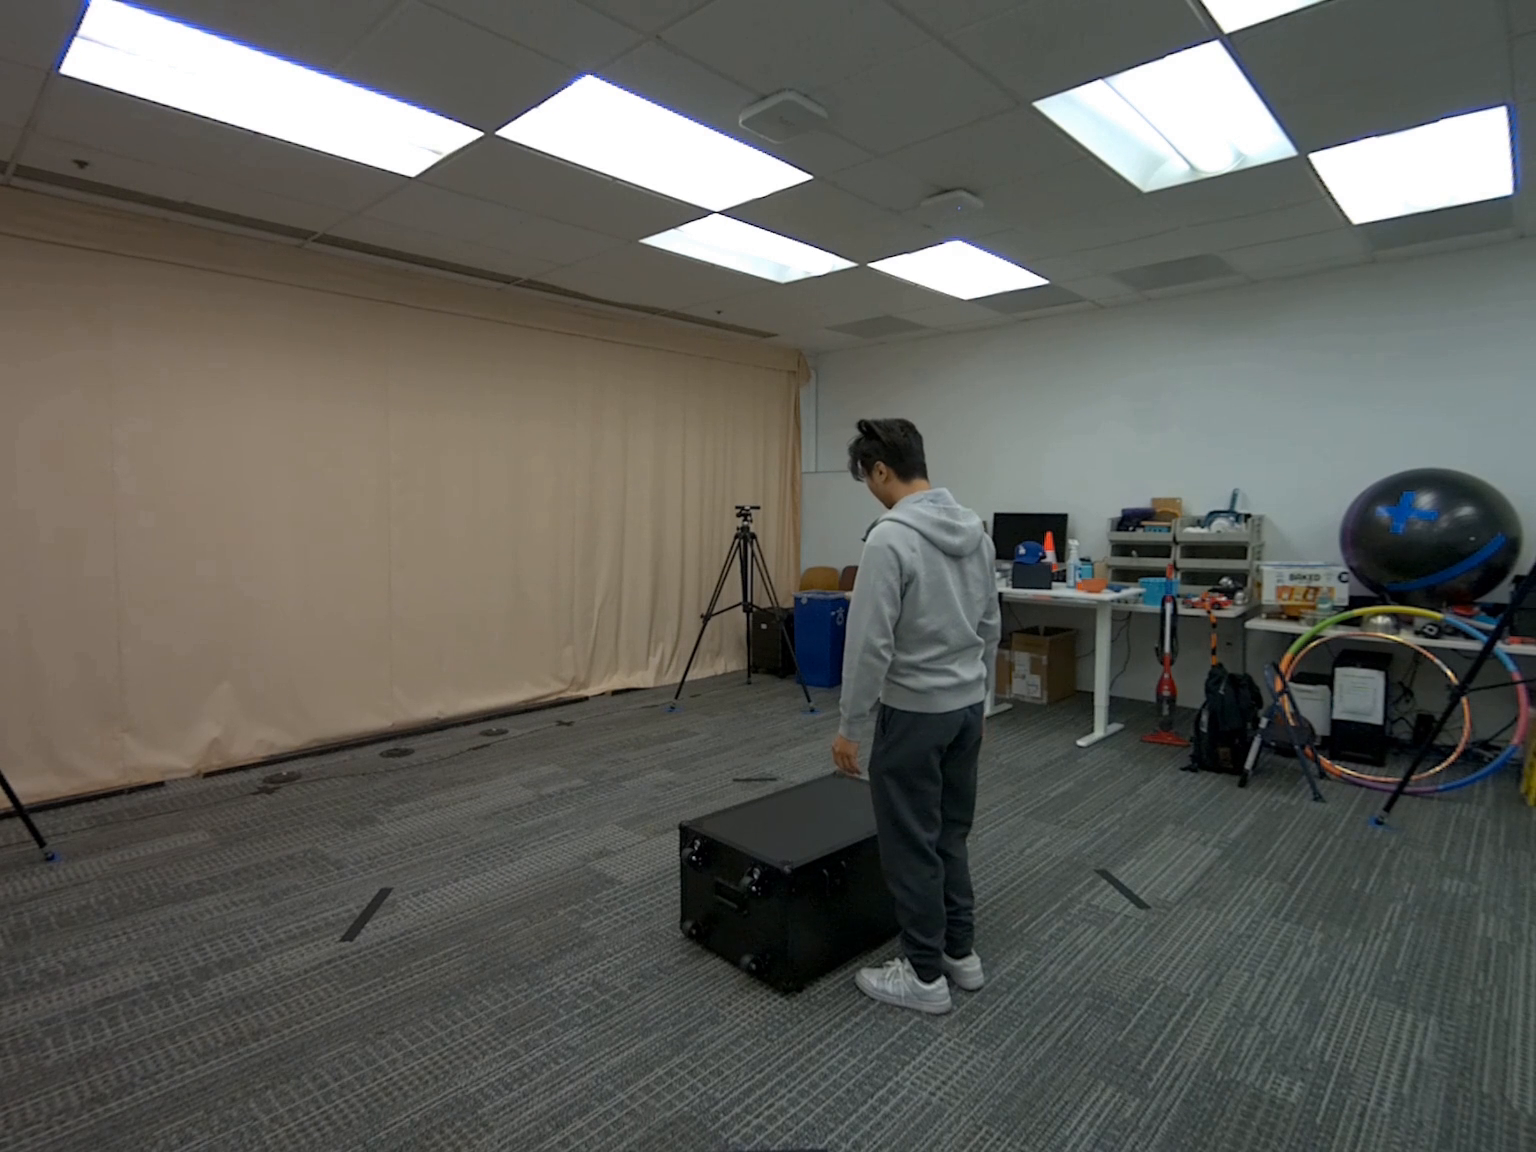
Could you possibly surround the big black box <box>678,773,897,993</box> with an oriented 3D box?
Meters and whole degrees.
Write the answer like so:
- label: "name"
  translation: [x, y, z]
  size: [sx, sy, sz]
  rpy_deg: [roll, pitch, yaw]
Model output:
- label: "big black box"
  translation: [0.139, 0.972, 2.770]
  size: [0.835, 0.395, 0.539]
  rpy_deg: [-4, 6, -44]
